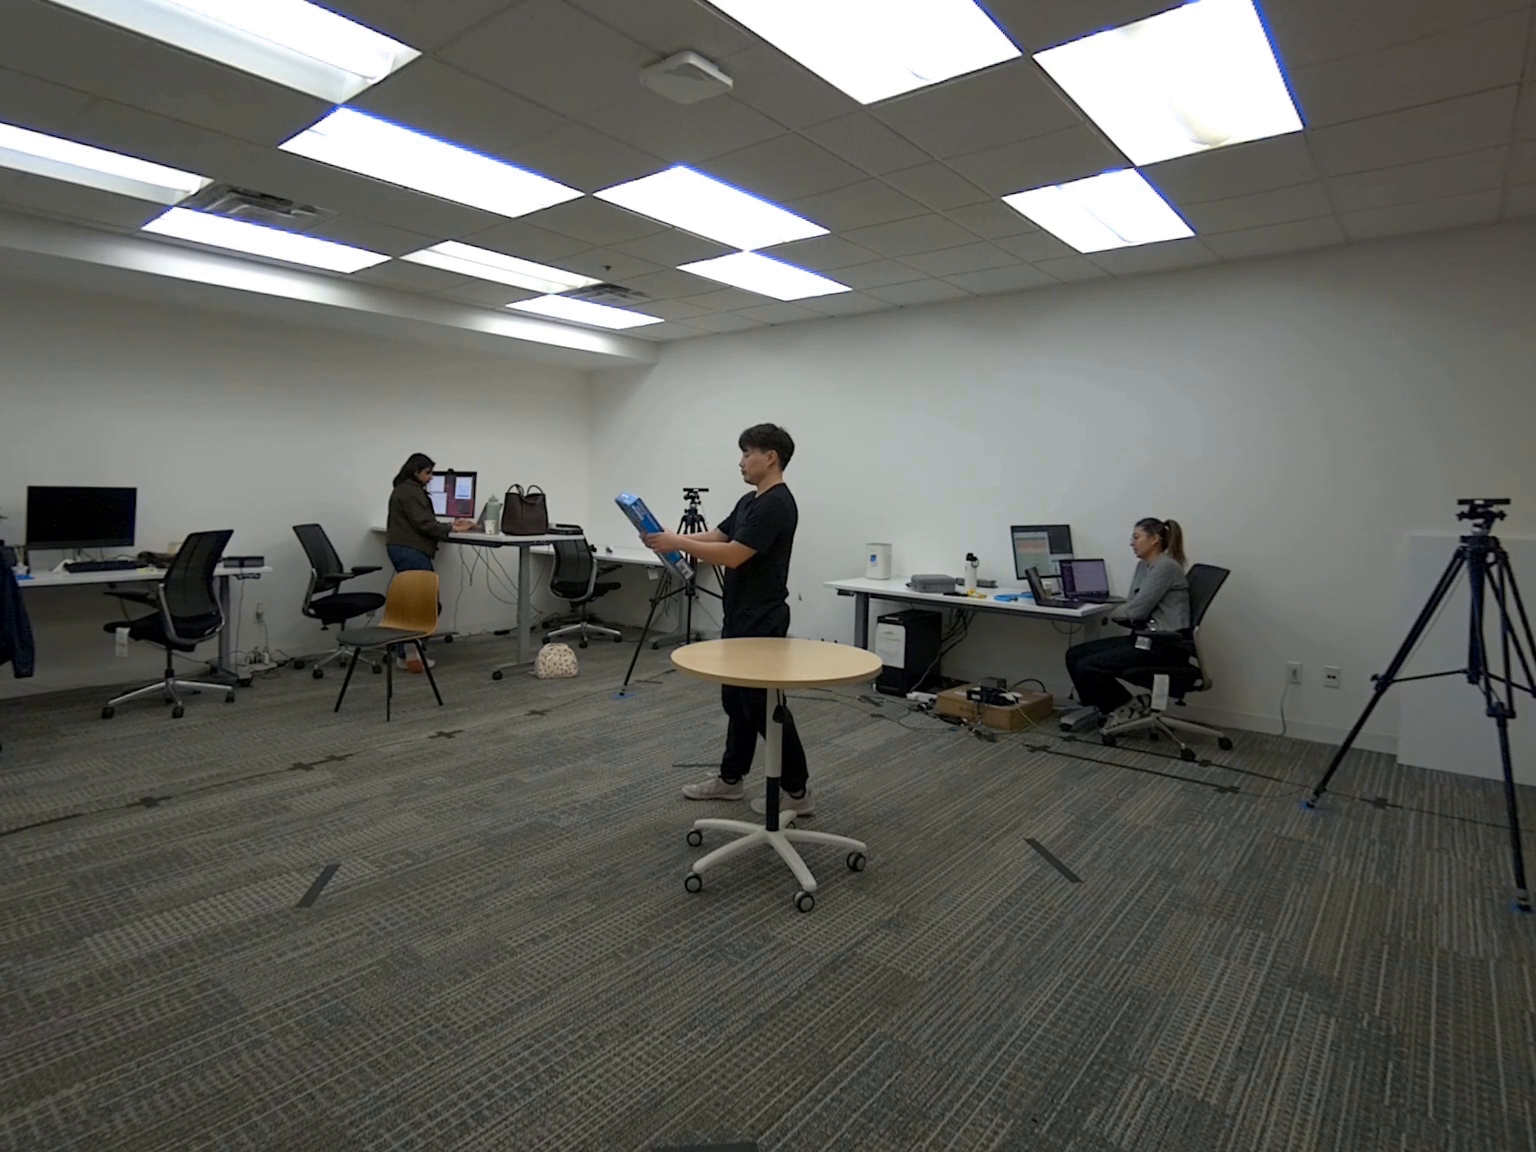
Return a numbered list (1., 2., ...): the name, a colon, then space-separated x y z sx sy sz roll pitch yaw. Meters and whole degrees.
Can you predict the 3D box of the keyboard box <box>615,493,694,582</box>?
1. keyboard box: -0.496 -0.176 3.629 0.059 0.422 0.182 -43 29 -15
